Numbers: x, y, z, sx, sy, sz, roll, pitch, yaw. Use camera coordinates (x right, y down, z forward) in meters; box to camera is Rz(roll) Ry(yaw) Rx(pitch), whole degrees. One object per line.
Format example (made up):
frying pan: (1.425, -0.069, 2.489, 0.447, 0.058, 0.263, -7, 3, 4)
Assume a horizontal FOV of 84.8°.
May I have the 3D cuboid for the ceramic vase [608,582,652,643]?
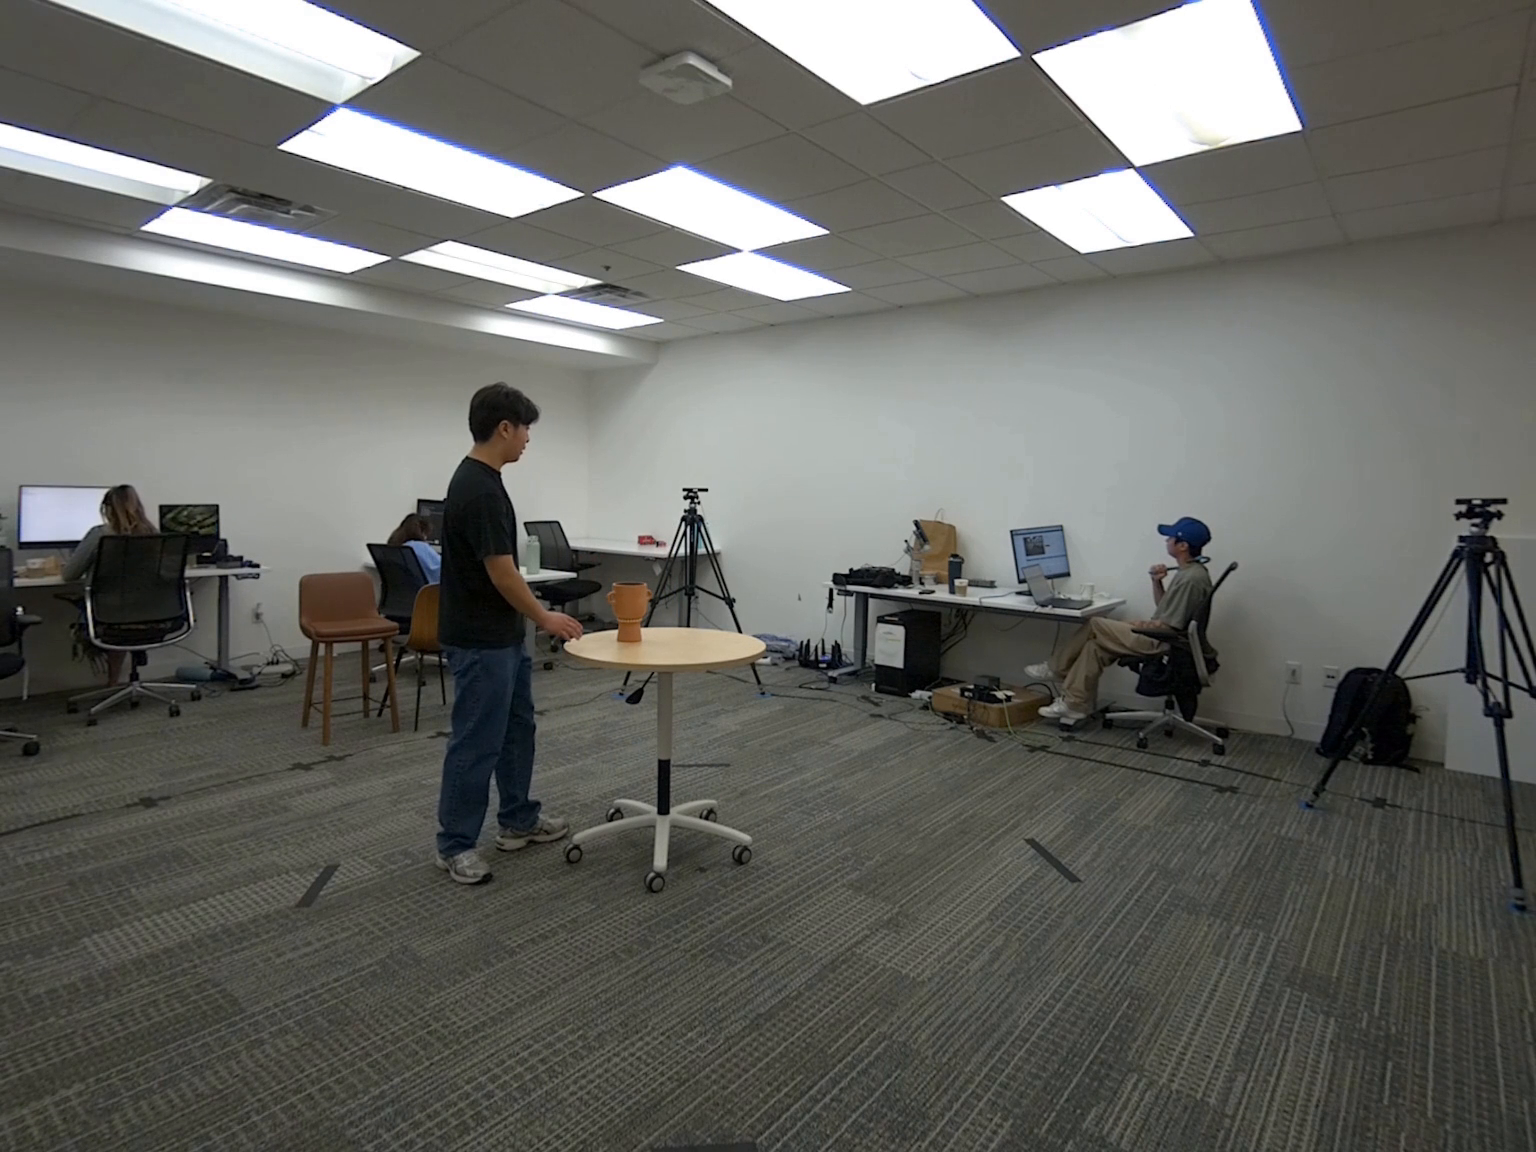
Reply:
ceramic vase: (-0.560, 0.143, 3.308, 0.160, 0.219, 0.134, 2, 5, 4)
